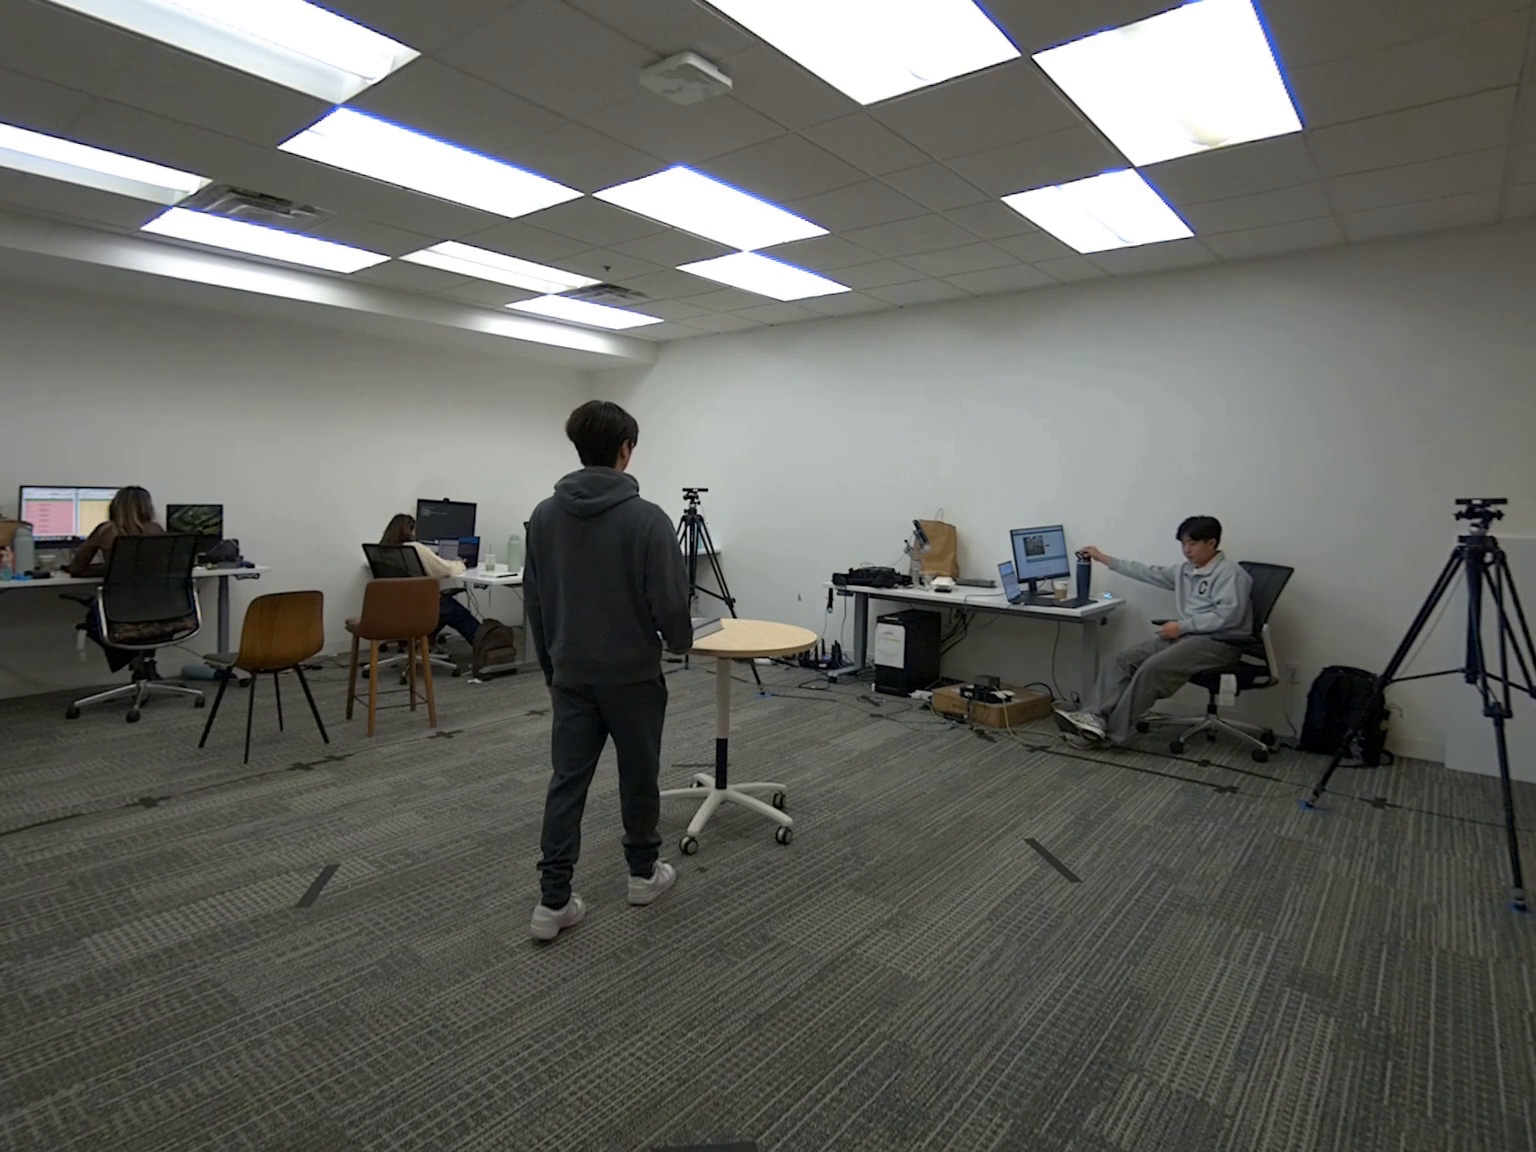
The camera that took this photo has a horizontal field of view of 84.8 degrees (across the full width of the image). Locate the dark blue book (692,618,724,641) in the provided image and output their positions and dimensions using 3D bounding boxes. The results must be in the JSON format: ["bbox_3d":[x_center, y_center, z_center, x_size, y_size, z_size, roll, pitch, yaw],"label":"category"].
[{"bbox_3d":[-0.311,0.207,3.069,0.240,0.045,0.168,-18,8,-36],"label":"dark blue book"}]
